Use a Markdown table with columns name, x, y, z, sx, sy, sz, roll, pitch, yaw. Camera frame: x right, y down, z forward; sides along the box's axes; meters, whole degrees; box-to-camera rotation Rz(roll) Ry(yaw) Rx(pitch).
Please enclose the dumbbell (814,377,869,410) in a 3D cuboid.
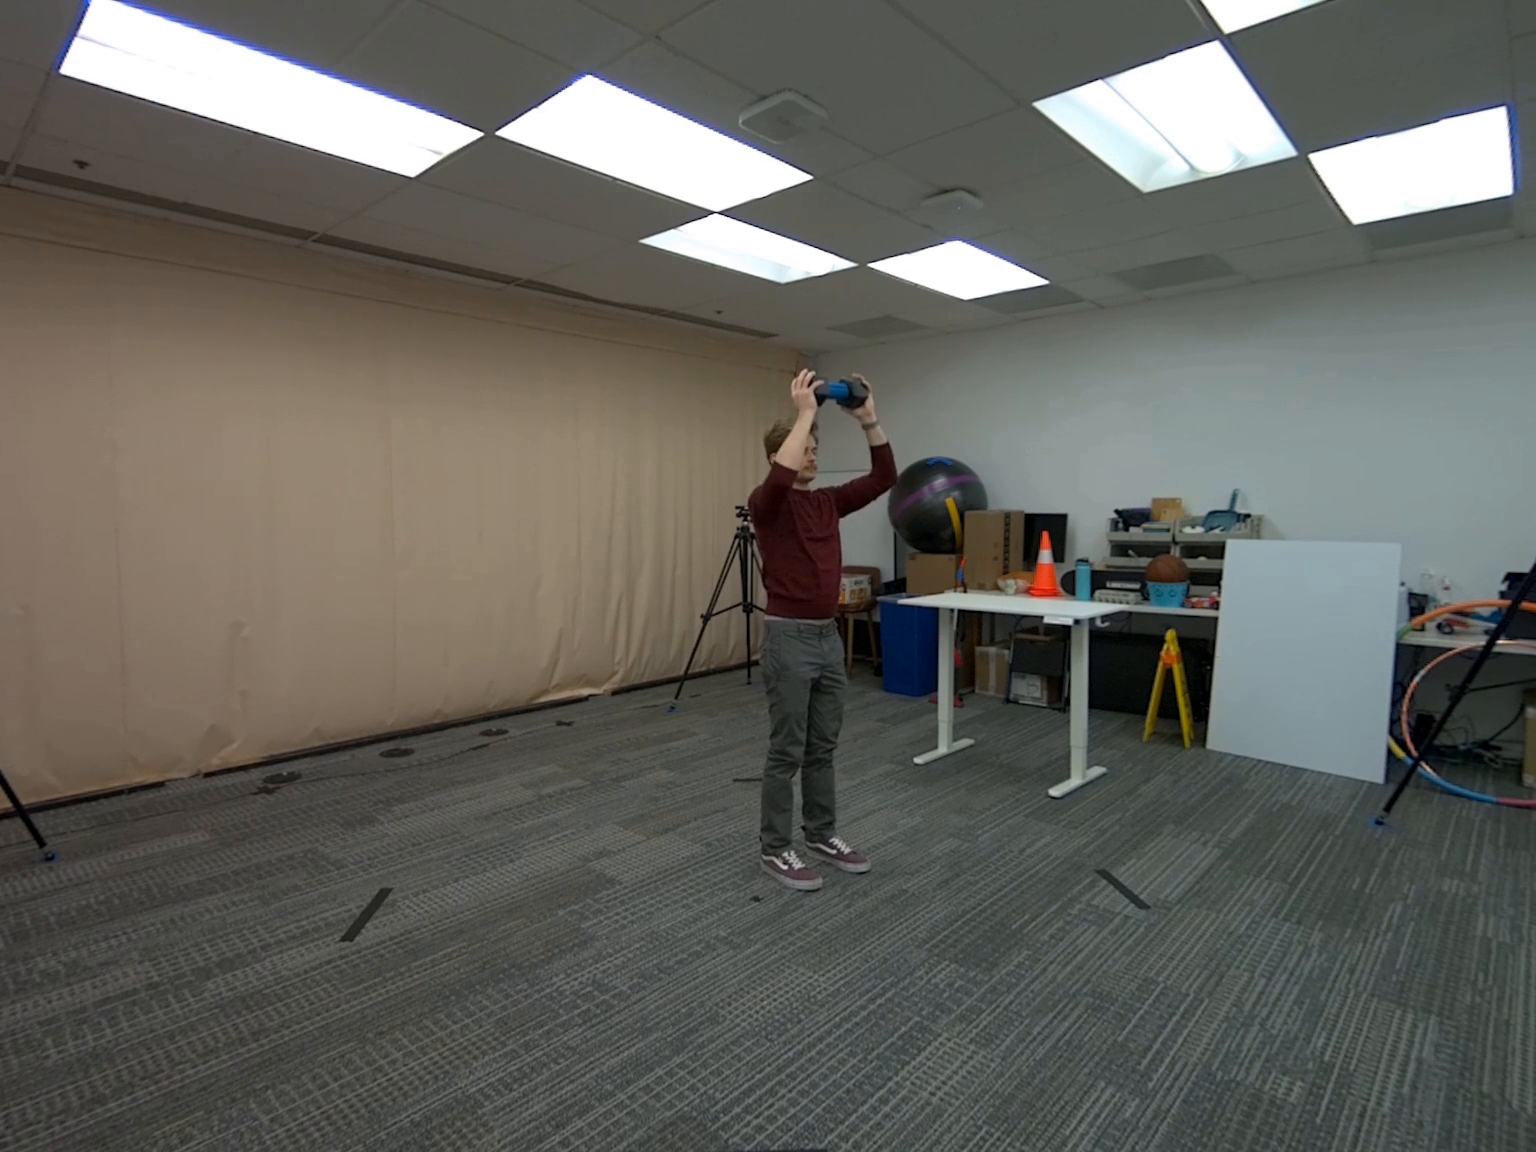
| name | x | y | z | sx | sy | sz | roll | pitch | yaw |
| --- | --- | --- | --- | --- | --- | --- | --- | --- | --- |
| dumbbell | 0.233 | -0.670 | 3.059 | 0.285 | 0.123 | 0.111 | -9 | -2 | -39 |
